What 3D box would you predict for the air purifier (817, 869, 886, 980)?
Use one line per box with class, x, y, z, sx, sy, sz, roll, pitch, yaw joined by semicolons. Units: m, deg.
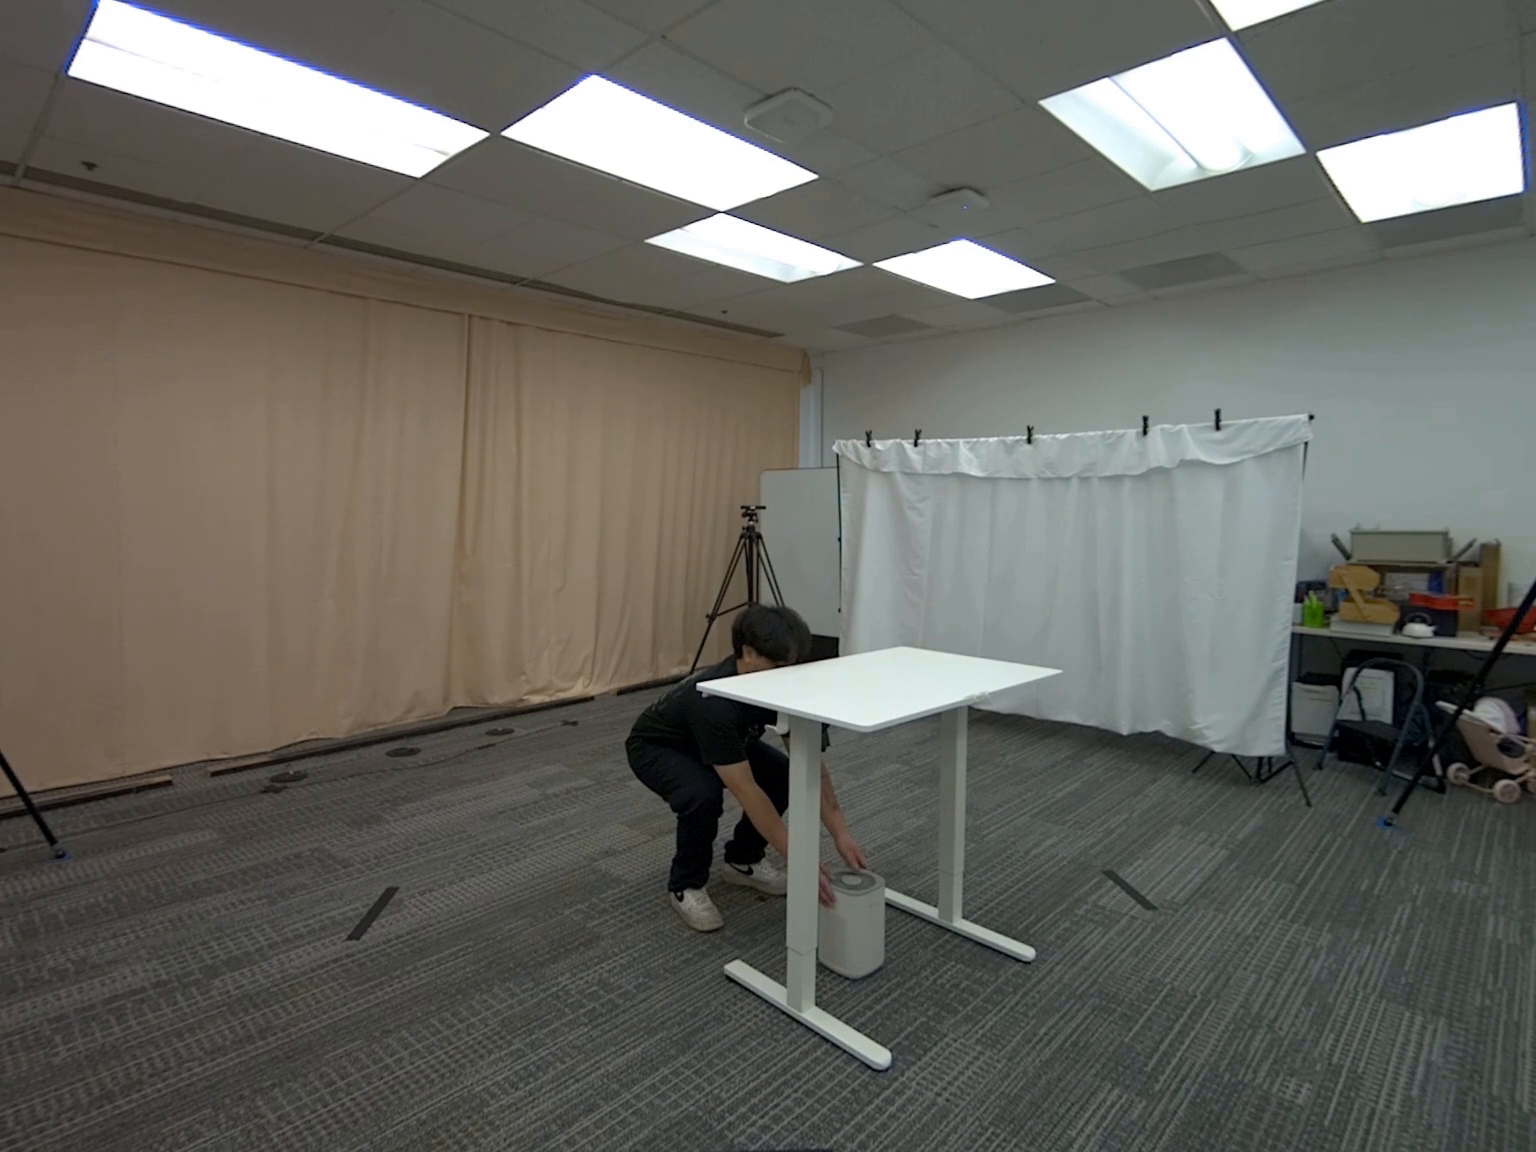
air purifier;0.257;1.046;2.548;0.177;0.265;0.166;4;4;44
